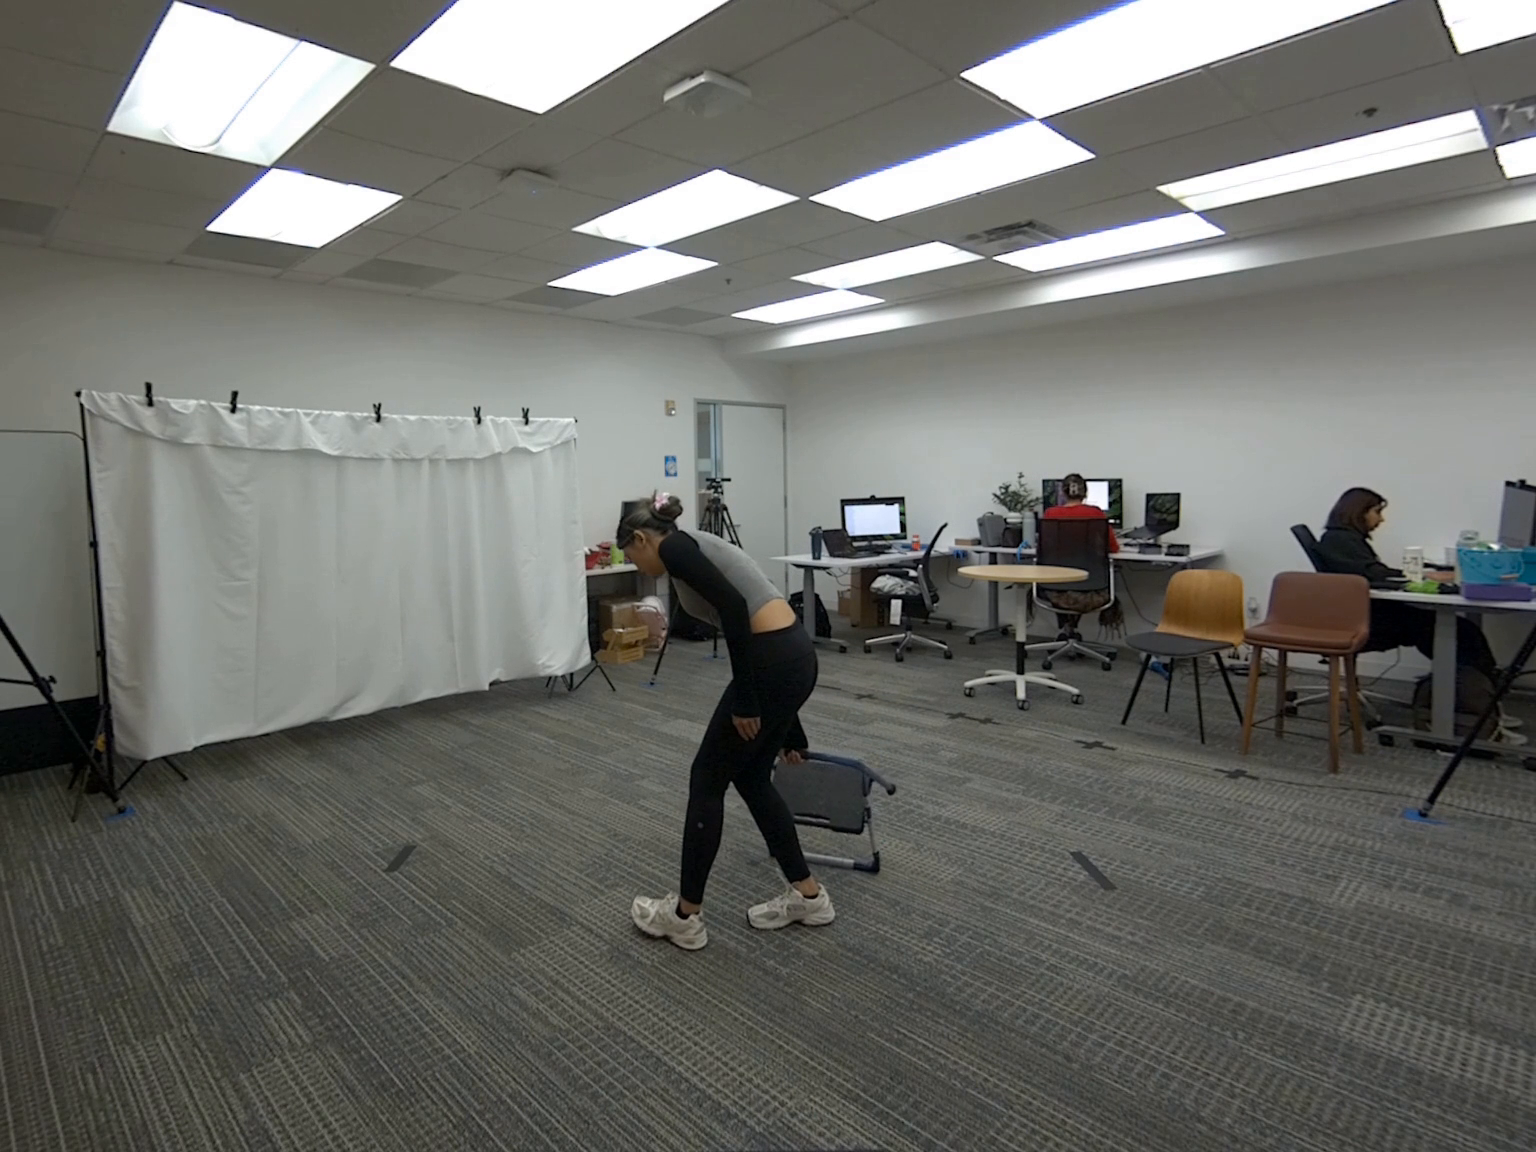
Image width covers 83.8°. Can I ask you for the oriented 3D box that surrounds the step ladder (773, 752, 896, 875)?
[{"bbox_3d":[0.175,0.721,3.006,0.439,0.585,0.354,1,47,22],"label":"step ladder"}]
